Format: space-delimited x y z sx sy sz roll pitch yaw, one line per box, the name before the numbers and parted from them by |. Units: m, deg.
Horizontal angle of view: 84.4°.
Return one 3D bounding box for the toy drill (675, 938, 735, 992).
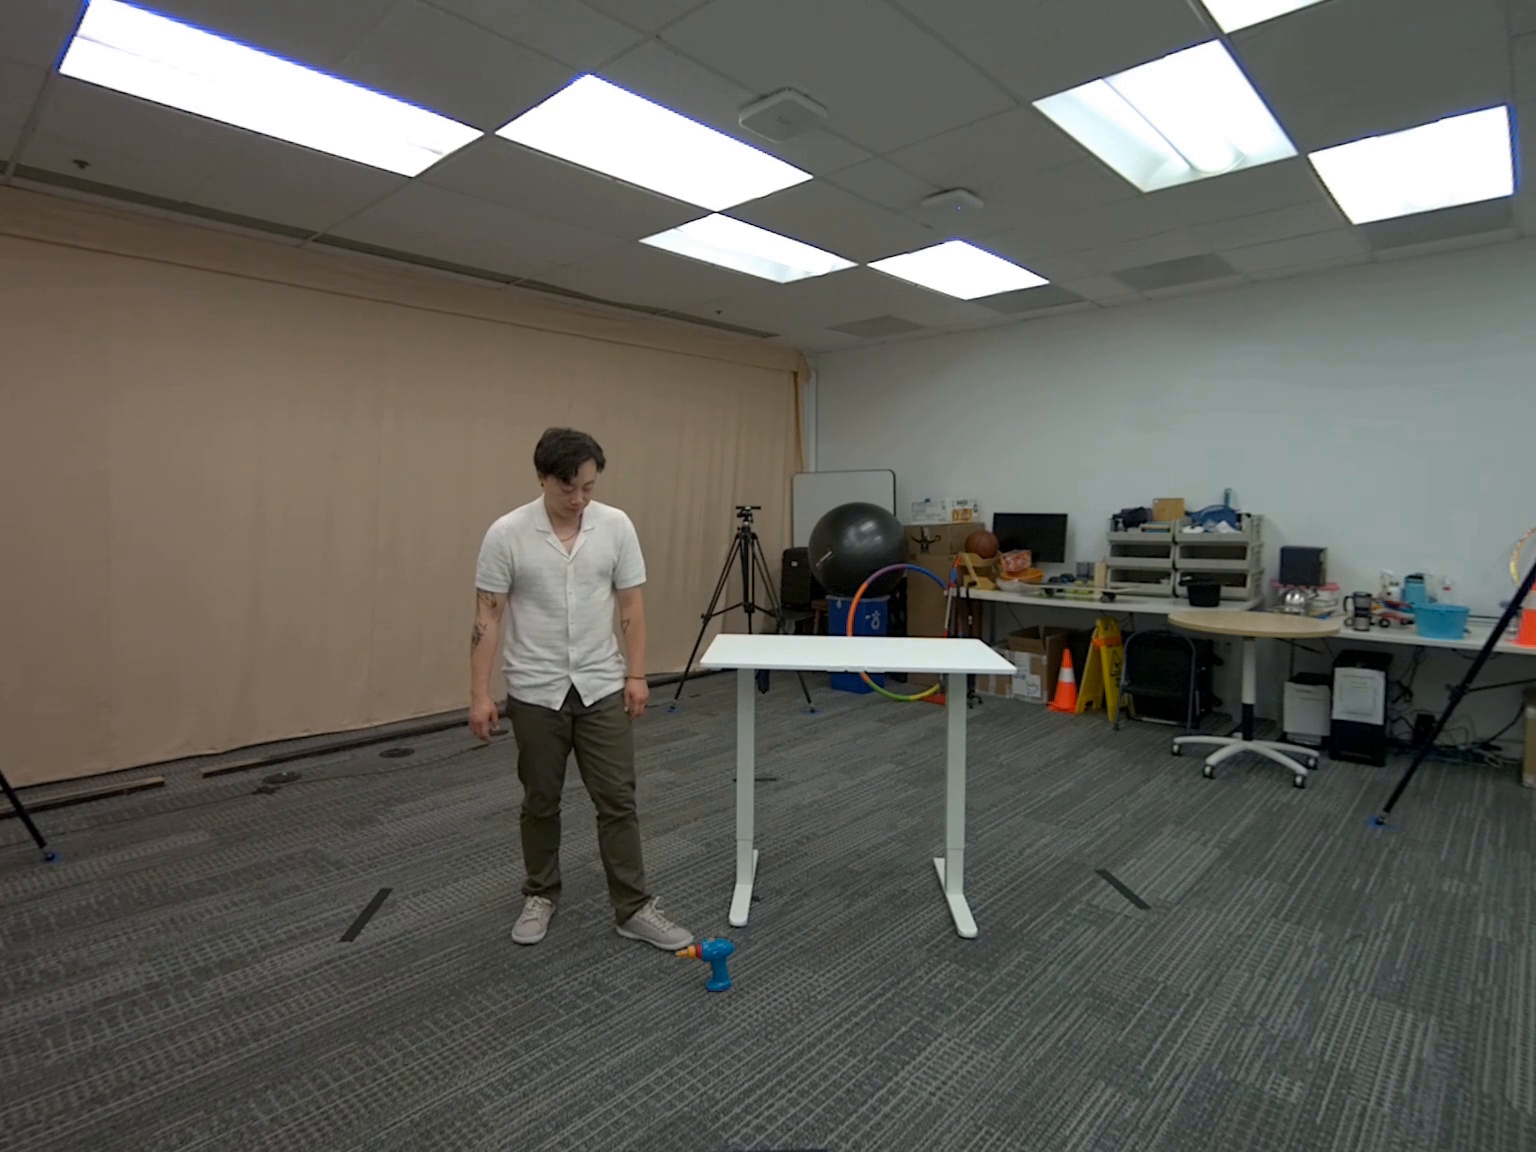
toy drill | -0.179 1.122 2.420 0.168 0.146 0.062 0 1 -8
